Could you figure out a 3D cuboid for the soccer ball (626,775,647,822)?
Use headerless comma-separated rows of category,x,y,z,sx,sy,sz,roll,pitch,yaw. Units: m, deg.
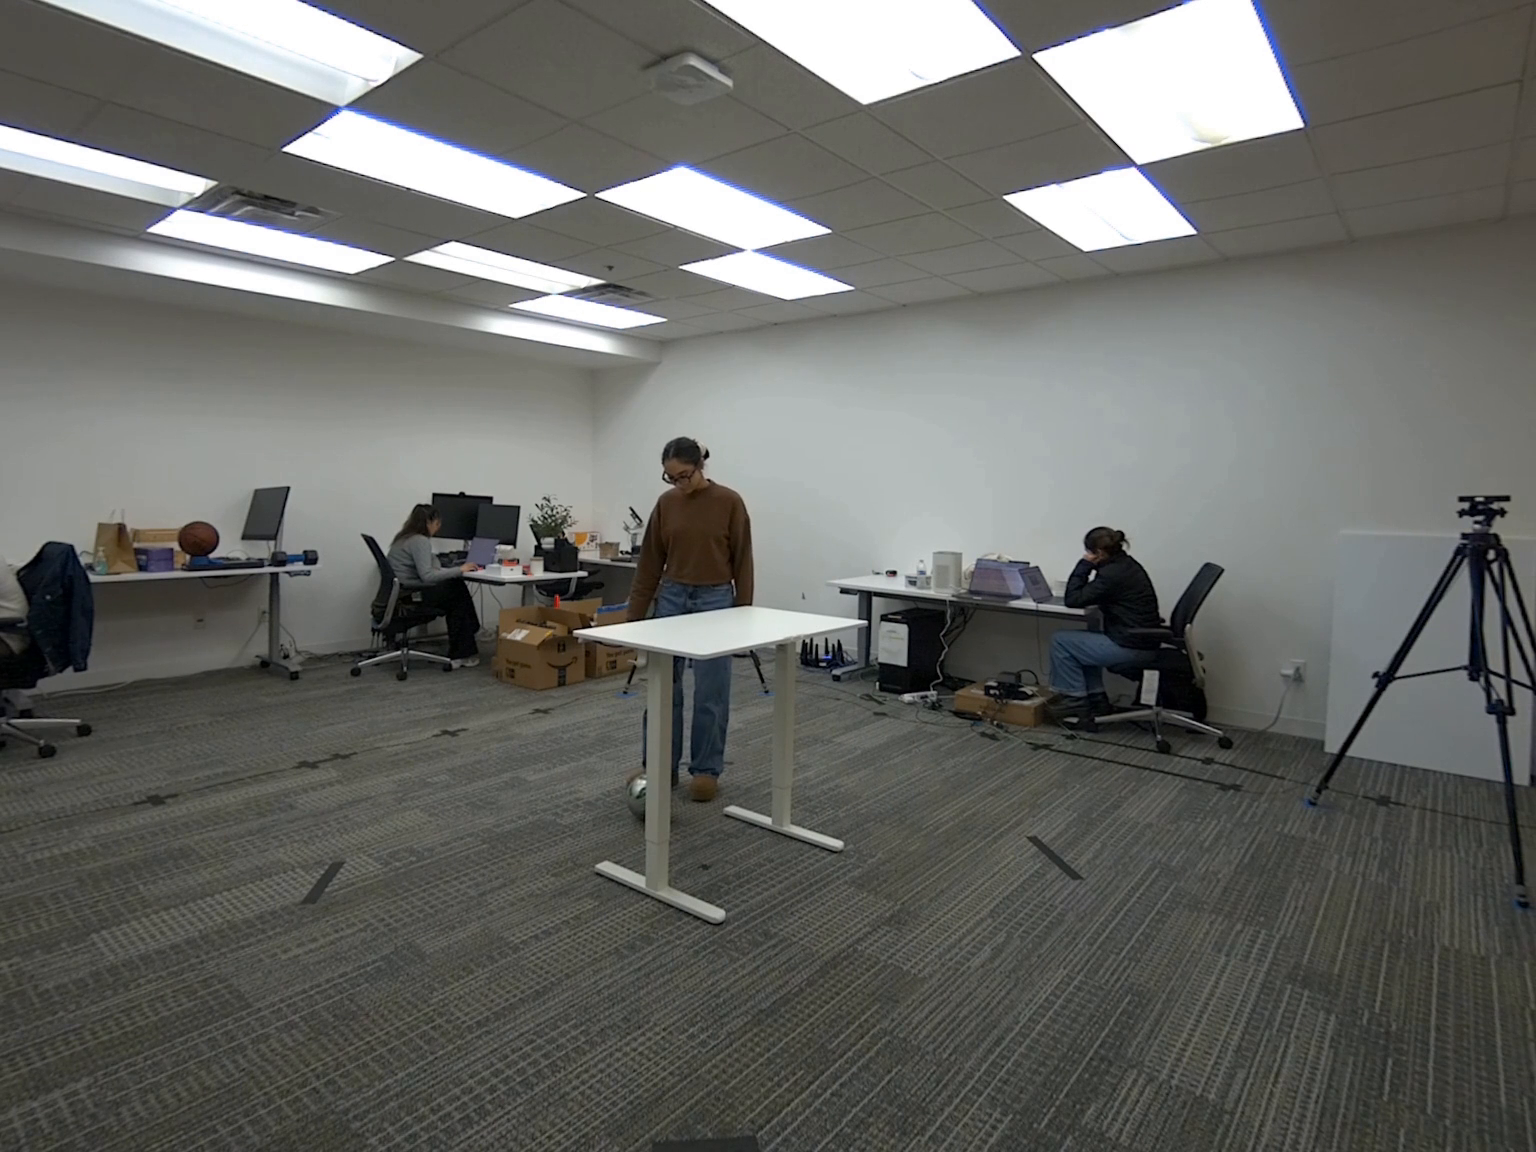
soccer ball,-0.523,0.921,3.570,0.187,0.187,0.188,1,4,-2
